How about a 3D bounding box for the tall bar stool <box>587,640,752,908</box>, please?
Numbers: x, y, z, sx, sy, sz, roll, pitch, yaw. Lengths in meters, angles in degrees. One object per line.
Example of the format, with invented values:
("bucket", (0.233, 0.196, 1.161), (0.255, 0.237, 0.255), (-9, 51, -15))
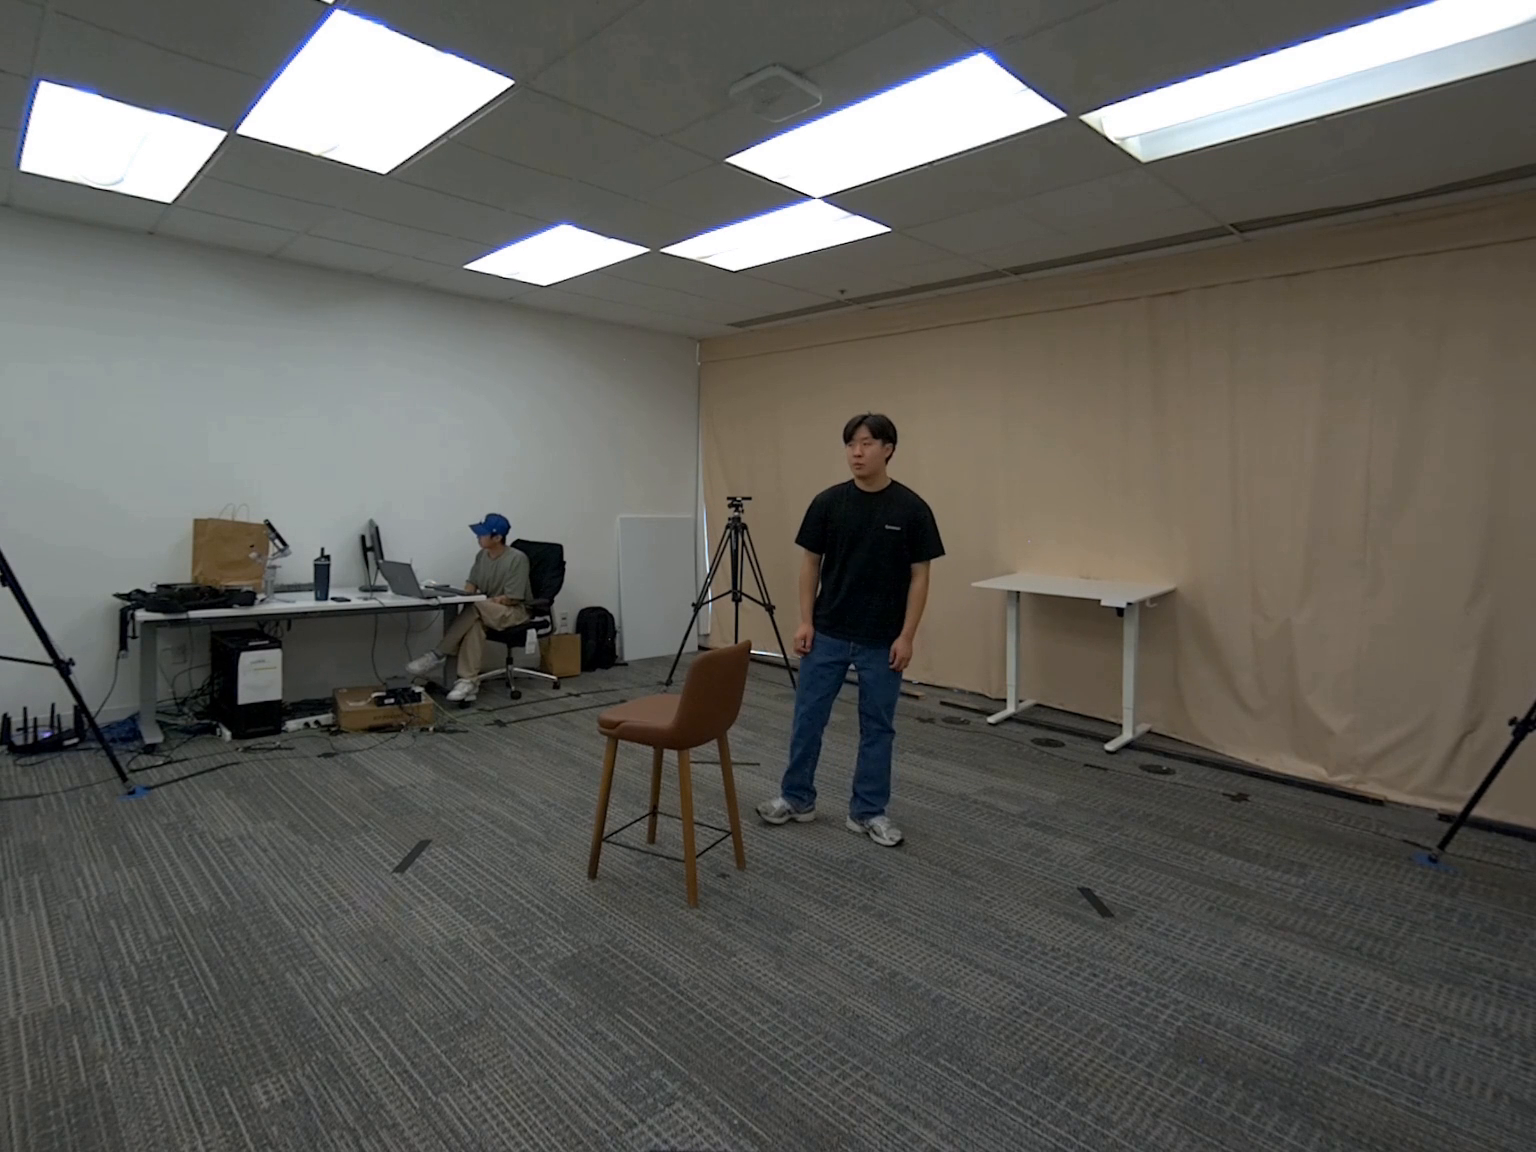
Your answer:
("tall bar stool", (-0.355, 0.669, 3.089), (0.478, 0.887, 0.448), (5, 5, 29))
